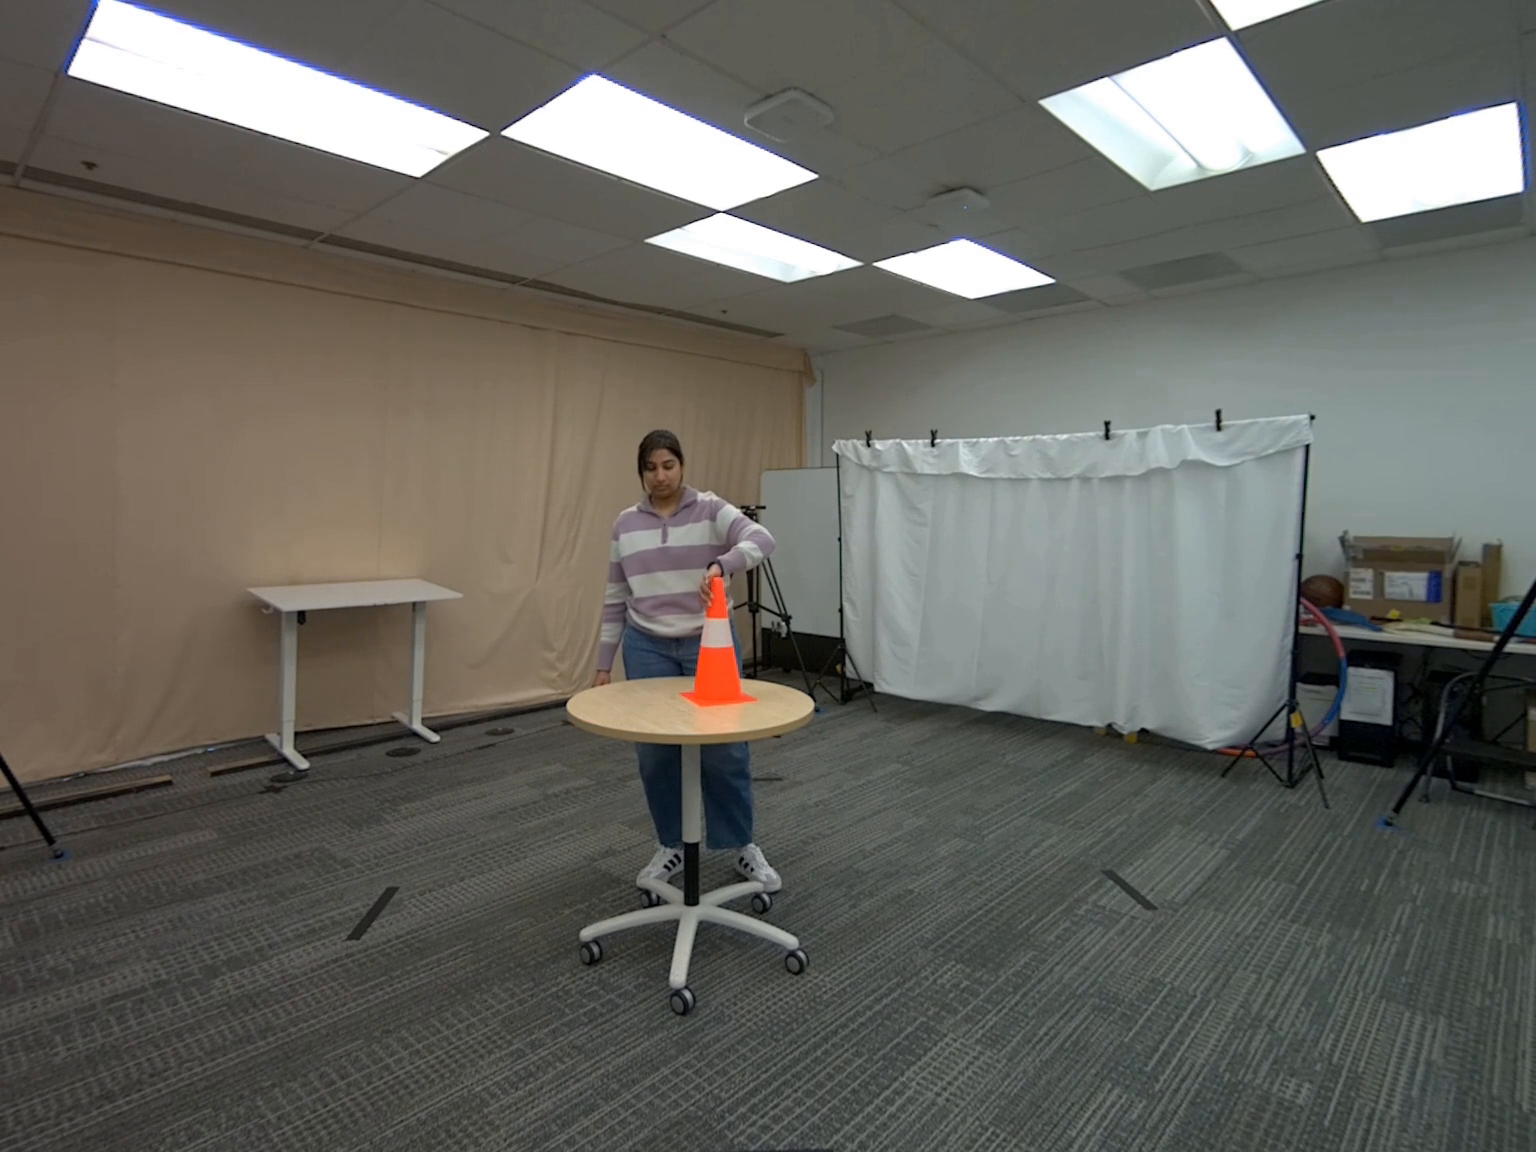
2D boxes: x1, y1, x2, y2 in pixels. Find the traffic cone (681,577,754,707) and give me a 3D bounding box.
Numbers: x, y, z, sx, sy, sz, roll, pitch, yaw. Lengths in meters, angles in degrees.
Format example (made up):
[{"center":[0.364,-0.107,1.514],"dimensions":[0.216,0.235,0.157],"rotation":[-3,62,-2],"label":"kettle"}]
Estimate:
[{"center":[-0.156,0.202,2.664],"dimensions":[0.199,0.383,0.210],"rotation":[-1,4,-23],"label":"traffic cone"}]
